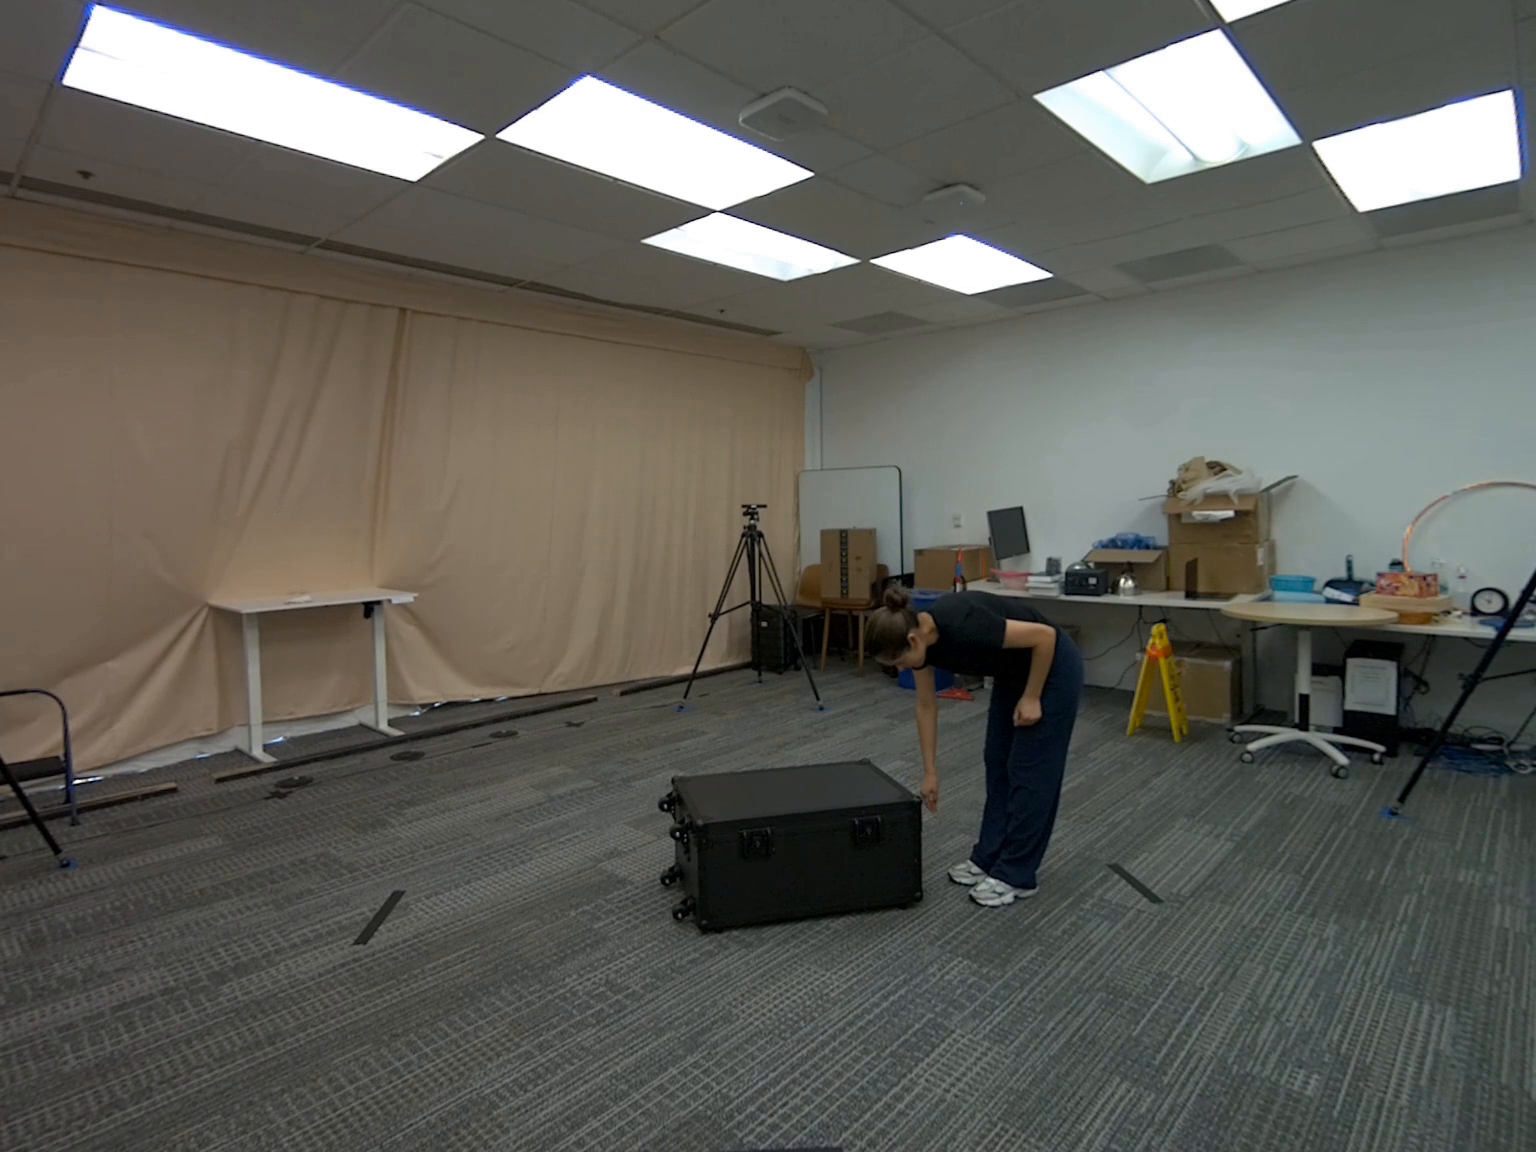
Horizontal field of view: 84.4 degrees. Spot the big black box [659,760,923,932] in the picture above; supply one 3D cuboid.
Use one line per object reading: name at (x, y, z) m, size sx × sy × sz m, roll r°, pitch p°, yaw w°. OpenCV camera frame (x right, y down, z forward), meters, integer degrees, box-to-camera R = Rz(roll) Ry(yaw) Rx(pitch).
big black box at (0.069, 0.942, 3.016) m, size 0.849 × 0.395 × 0.530 m, roll -2°, pitch 4°, yaw -14°
